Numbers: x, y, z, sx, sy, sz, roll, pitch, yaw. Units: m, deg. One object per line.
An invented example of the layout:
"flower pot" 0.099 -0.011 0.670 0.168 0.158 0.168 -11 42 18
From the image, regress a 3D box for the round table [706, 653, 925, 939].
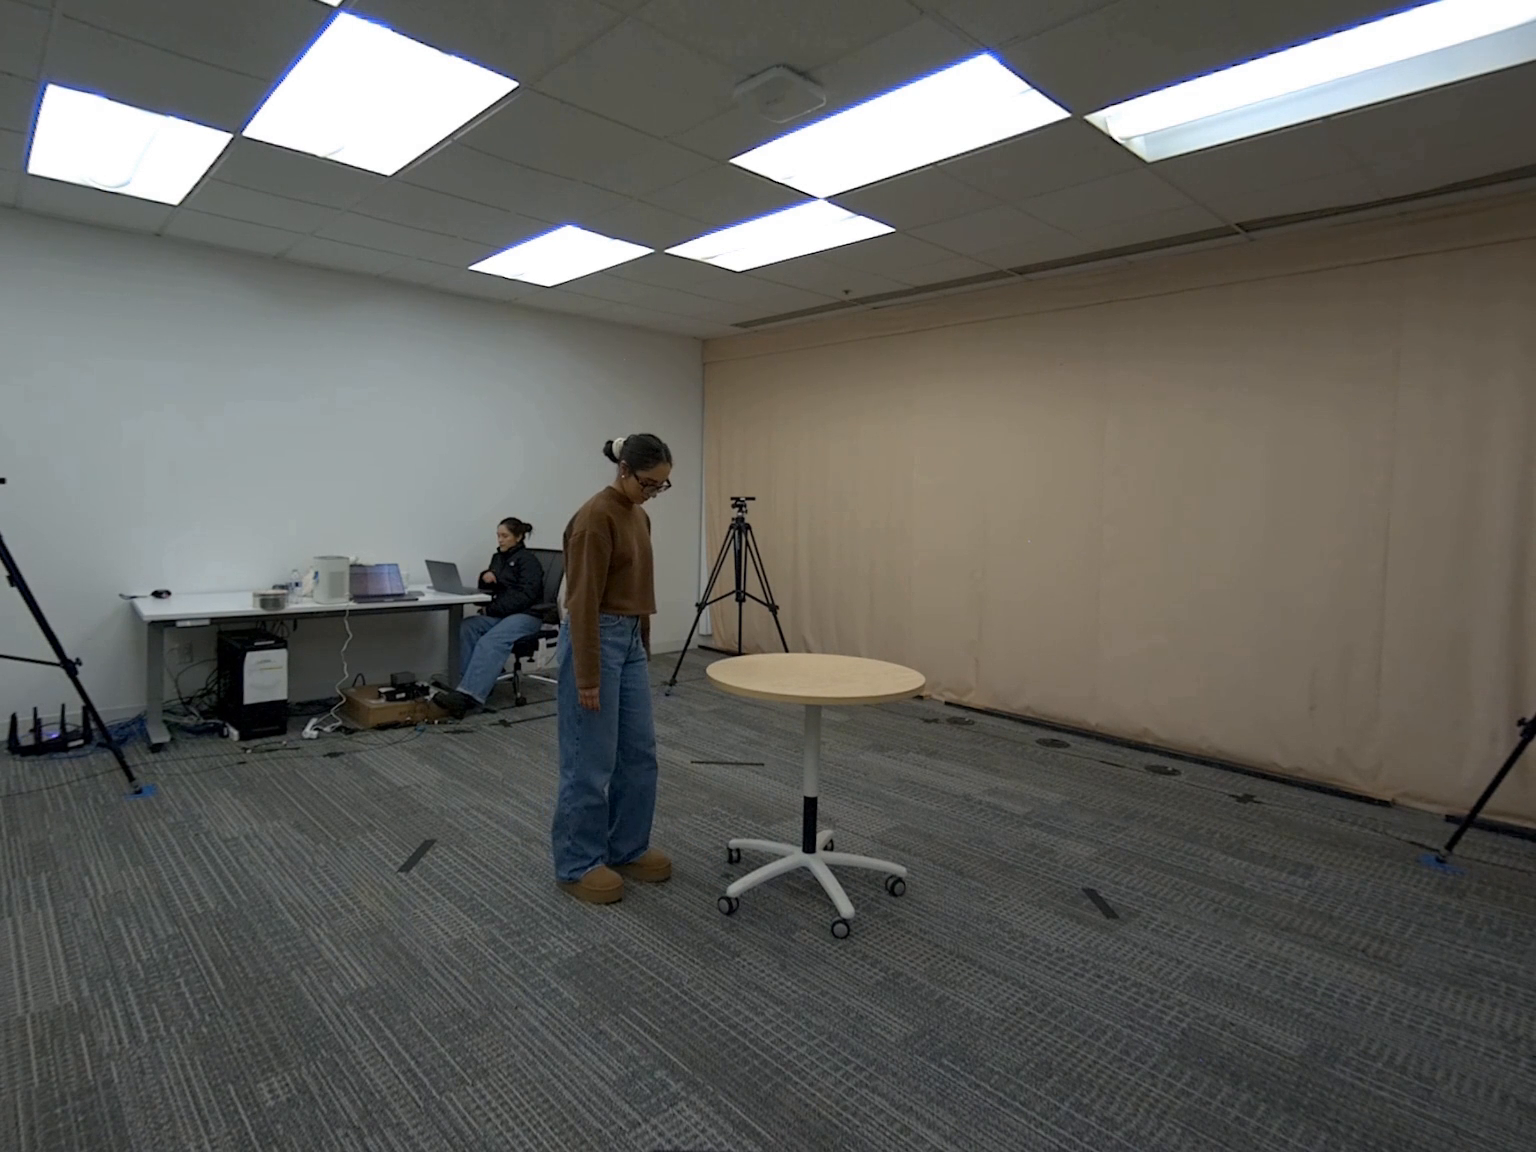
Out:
"round table" 0.137 0.733 2.993 0.763 0.792 0.766 1 4 -1
